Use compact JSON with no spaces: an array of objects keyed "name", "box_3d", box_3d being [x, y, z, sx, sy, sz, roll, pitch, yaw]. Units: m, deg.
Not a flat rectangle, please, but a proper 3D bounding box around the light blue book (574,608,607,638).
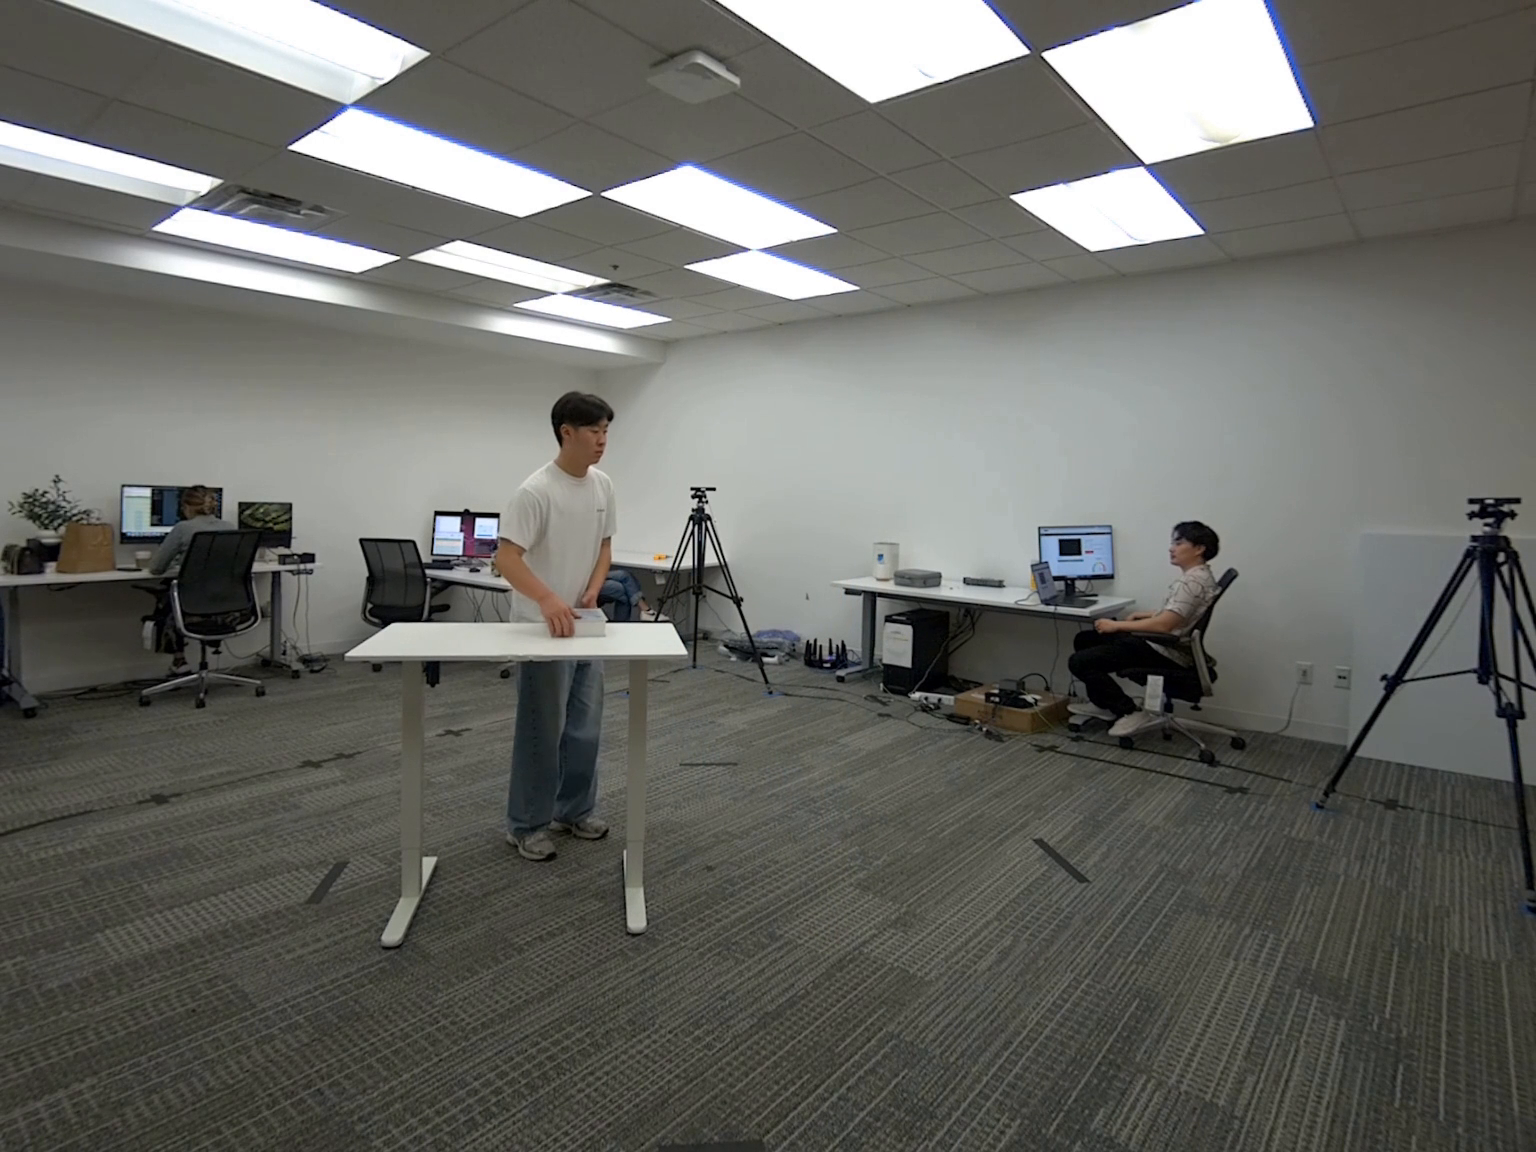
[{"name":"light blue book","box_3d":[-0.677,0.166,2.991,0.188,0.059,0.266,1,6,-14]}]
